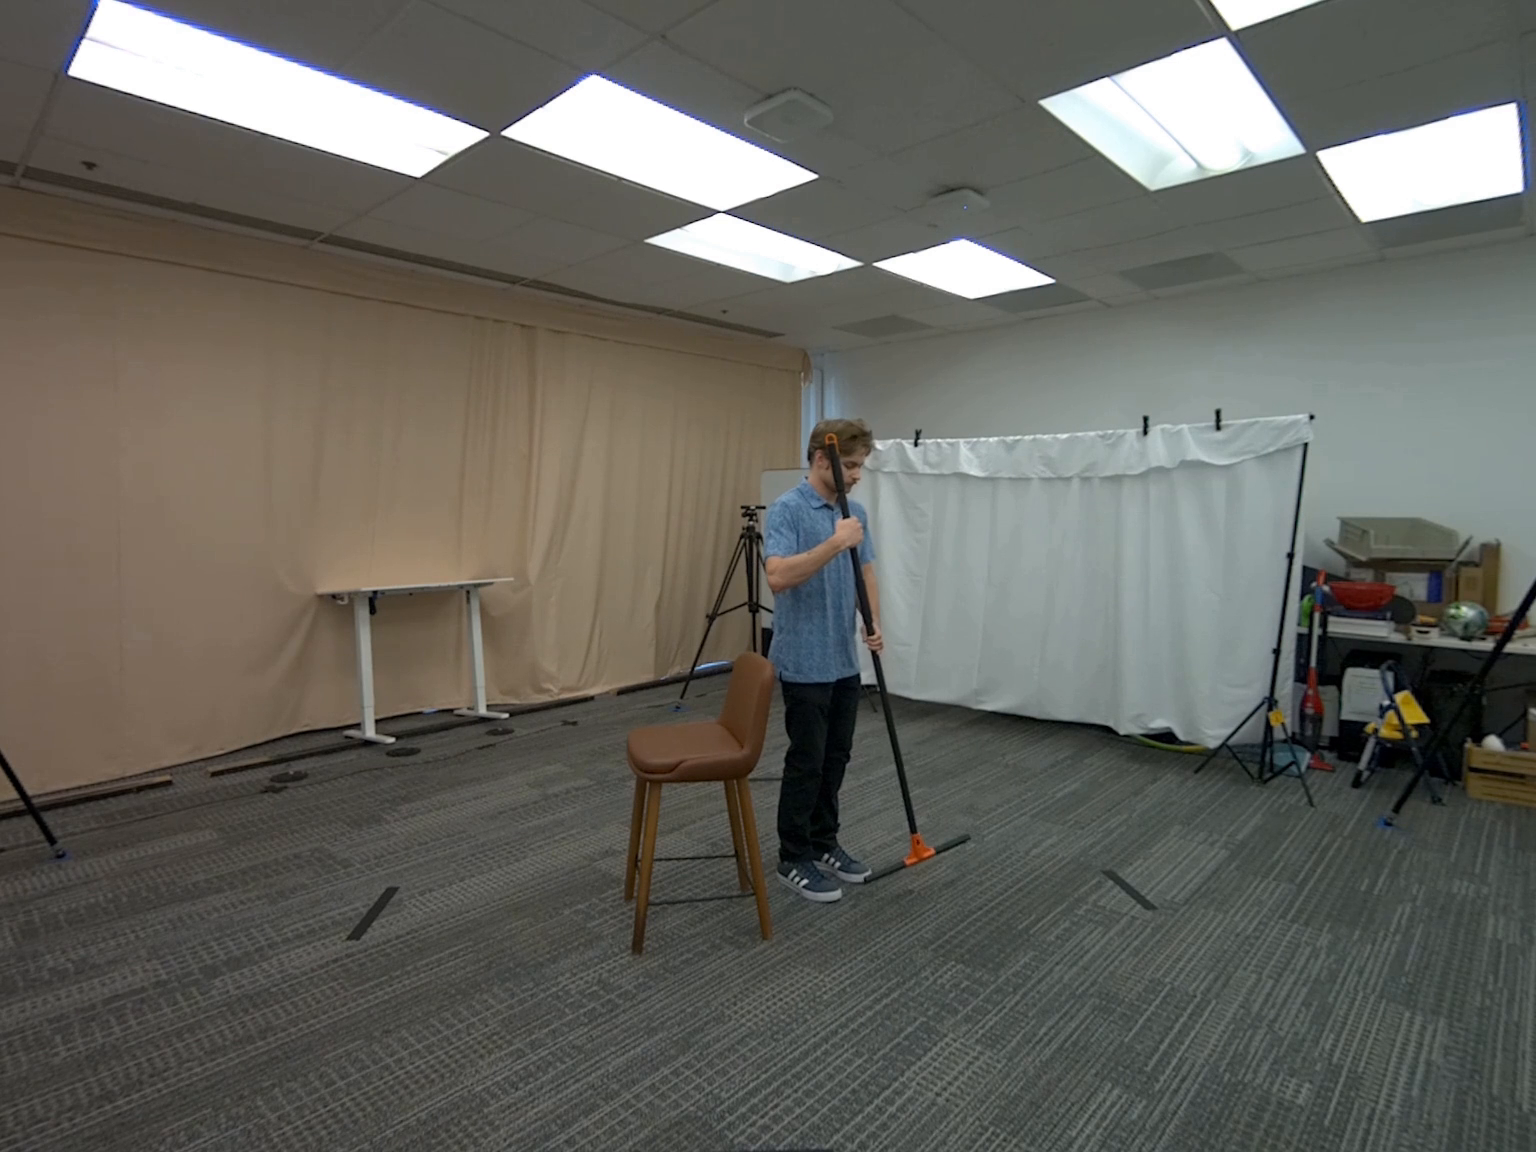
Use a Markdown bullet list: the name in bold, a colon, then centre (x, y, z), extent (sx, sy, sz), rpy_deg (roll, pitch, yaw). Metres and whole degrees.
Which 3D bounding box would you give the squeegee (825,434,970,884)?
- **squeegee**: centre (0.391, 0.304, 2.876), extent (0.435, 1.527, 0.053), rpy_deg (-12, 8, -6)
